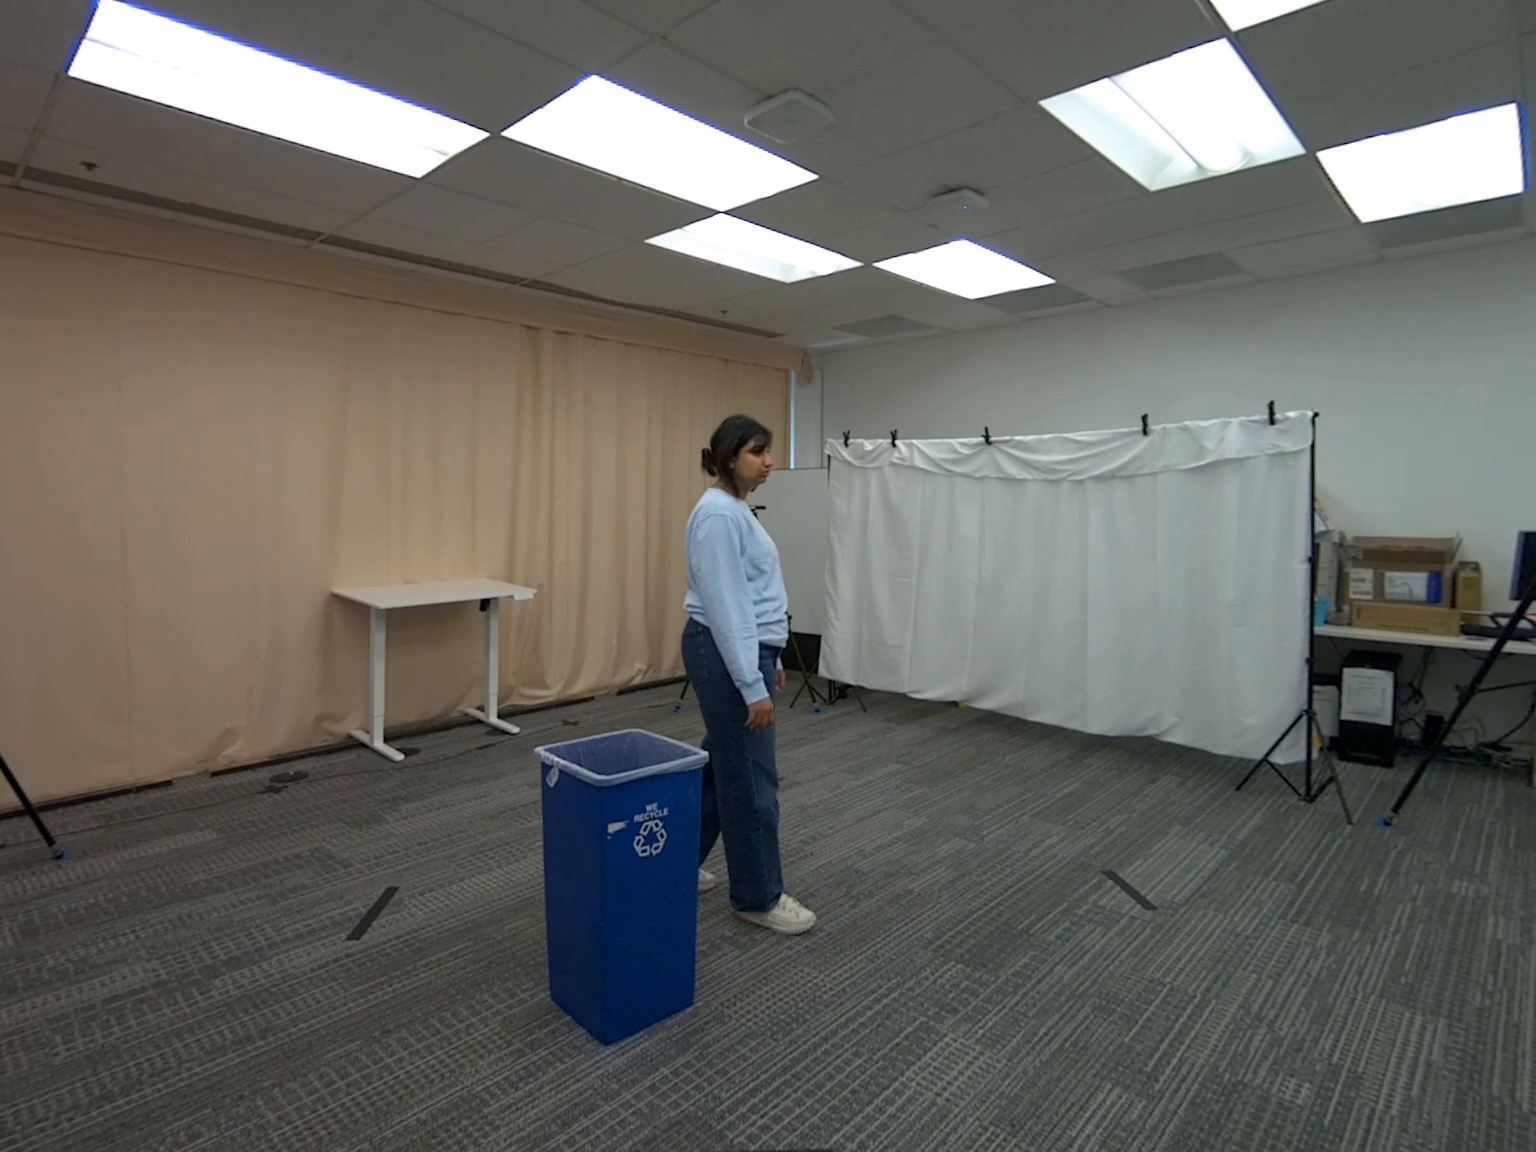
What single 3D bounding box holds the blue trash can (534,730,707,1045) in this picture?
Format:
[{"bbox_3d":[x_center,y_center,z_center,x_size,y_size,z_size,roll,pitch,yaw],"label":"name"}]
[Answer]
[{"bbox_3d":[-0.405,0.845,2.351,0.366,0.712,0.386,-3,4,-42],"label":"blue trash can"}]
